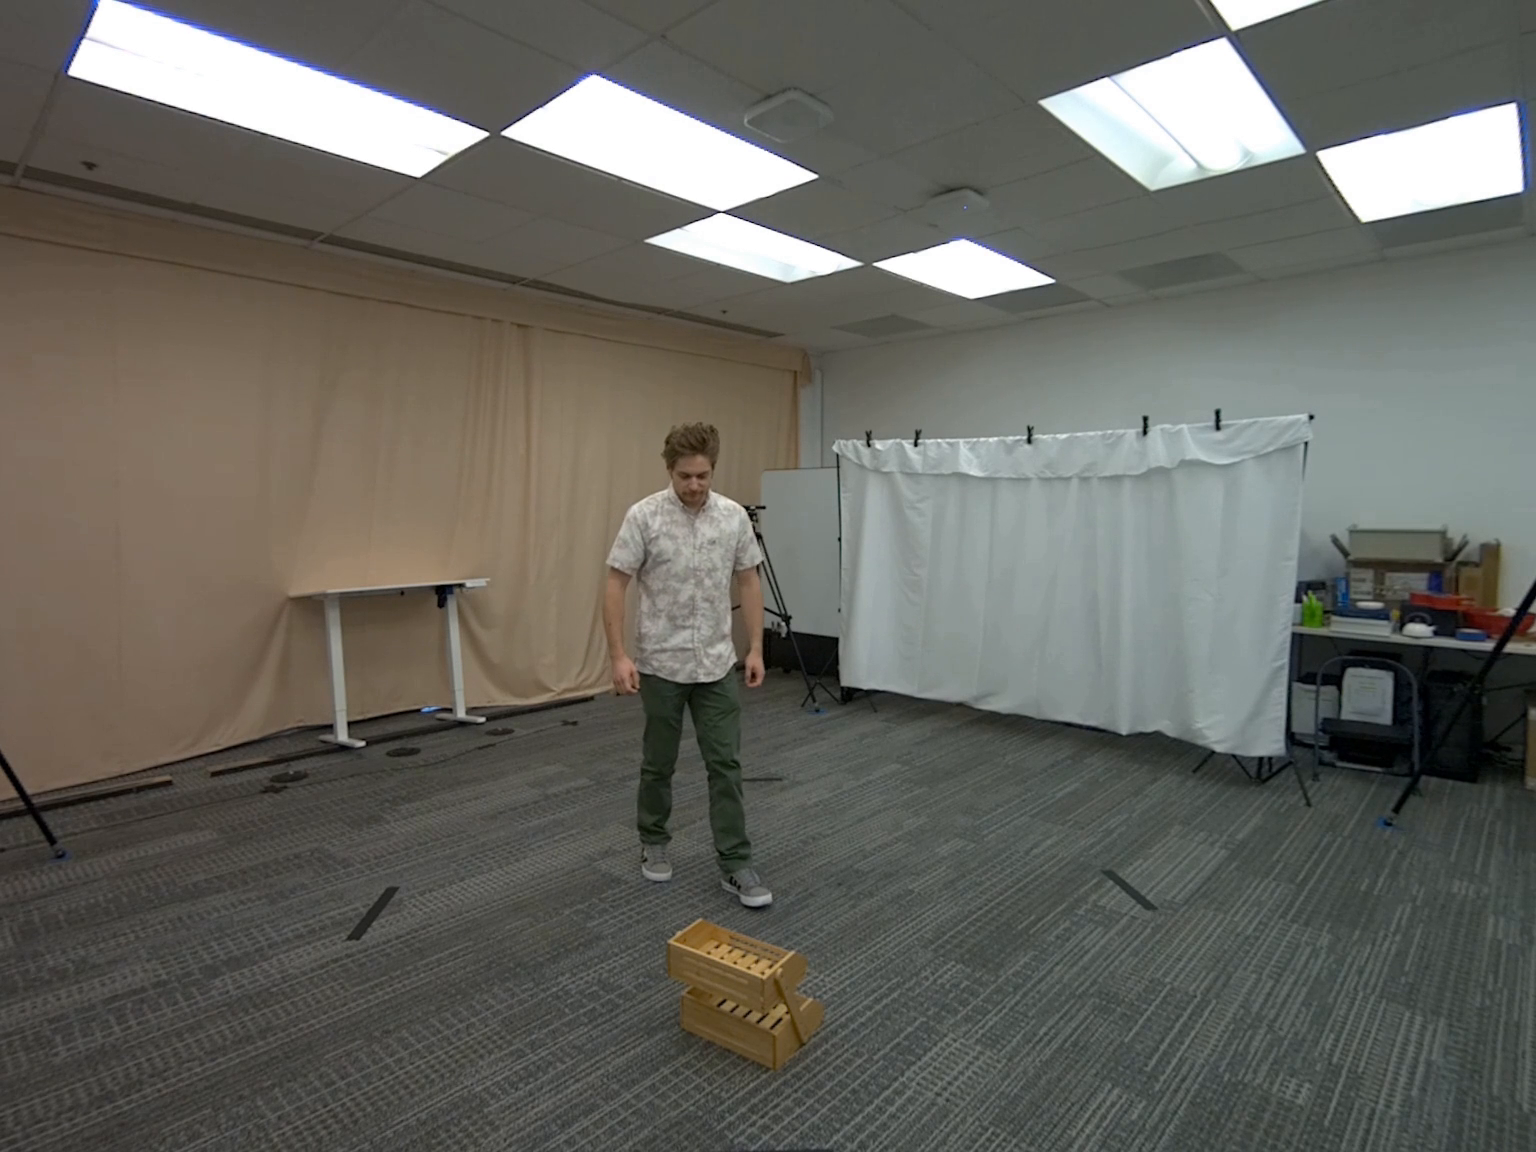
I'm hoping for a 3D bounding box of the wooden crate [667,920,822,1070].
[{"bbox_3d":[-0.049,1.075,2.228,0.334,0.272,0.293,3,5,34],"label":"wooden crate"}]
